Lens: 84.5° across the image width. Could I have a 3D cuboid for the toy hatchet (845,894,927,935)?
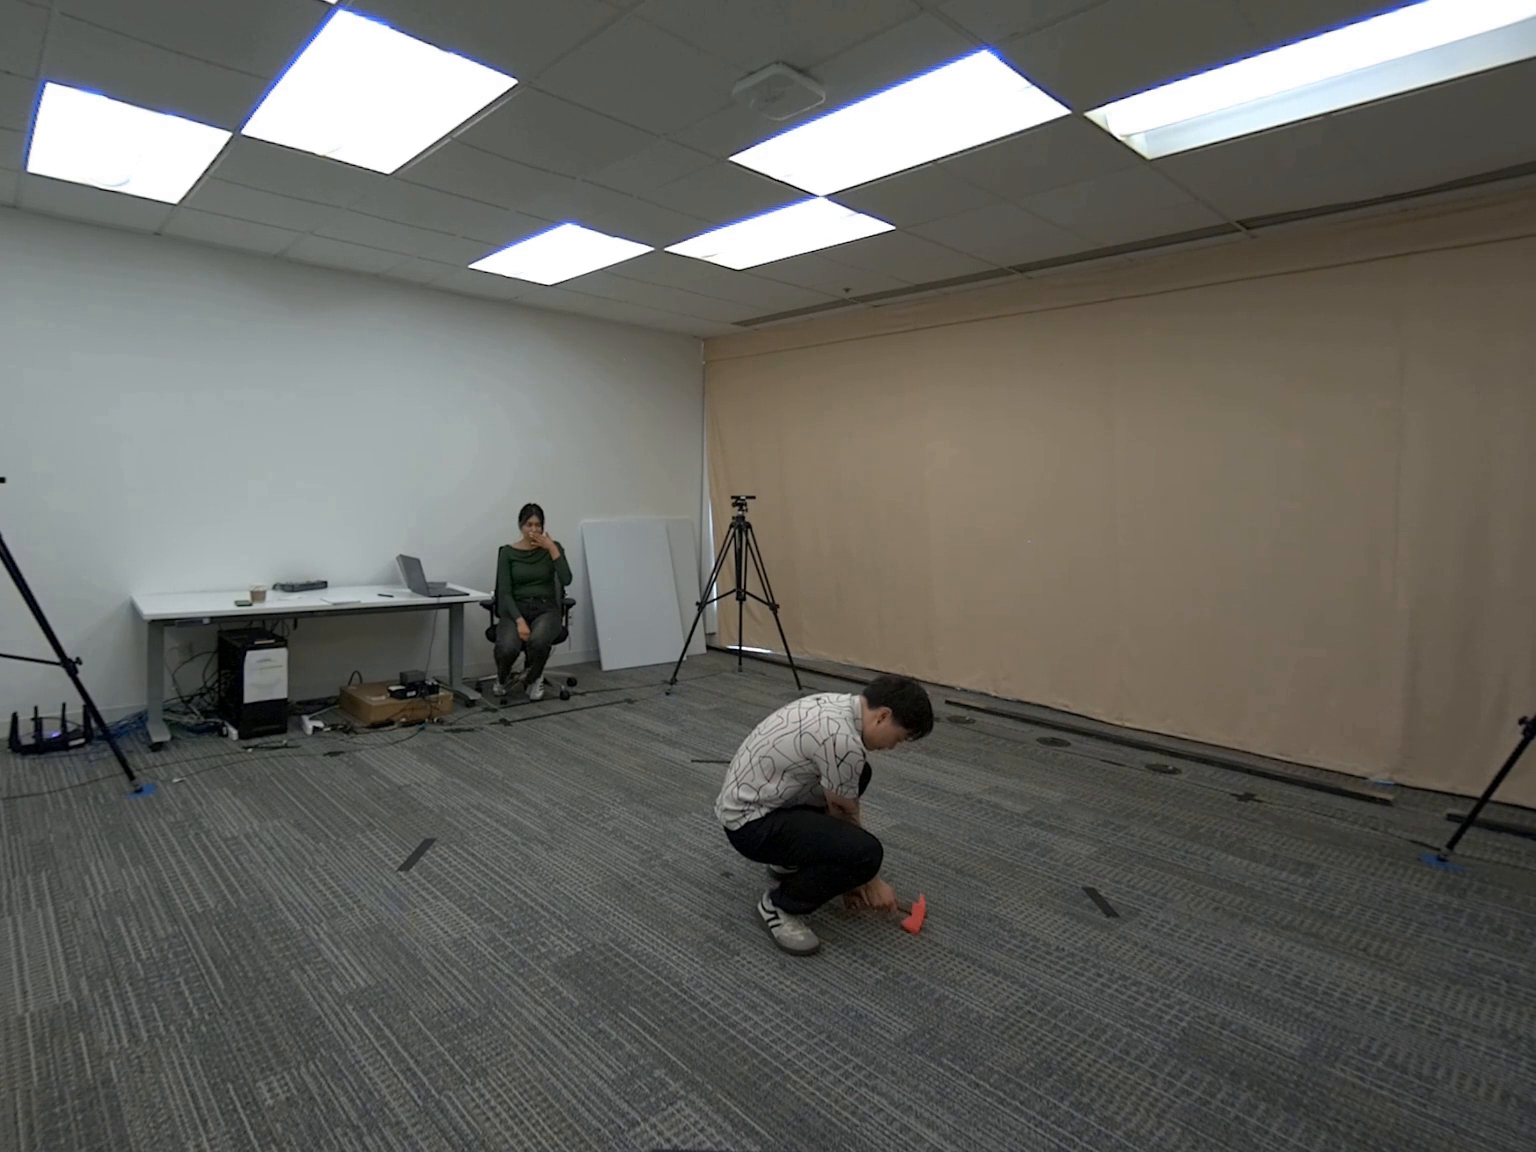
[{"bbox_3d":[0.384,1.114,2.761,0.271,0.029,0.134,-7,42,6],"label":"toy hatchet"}]
